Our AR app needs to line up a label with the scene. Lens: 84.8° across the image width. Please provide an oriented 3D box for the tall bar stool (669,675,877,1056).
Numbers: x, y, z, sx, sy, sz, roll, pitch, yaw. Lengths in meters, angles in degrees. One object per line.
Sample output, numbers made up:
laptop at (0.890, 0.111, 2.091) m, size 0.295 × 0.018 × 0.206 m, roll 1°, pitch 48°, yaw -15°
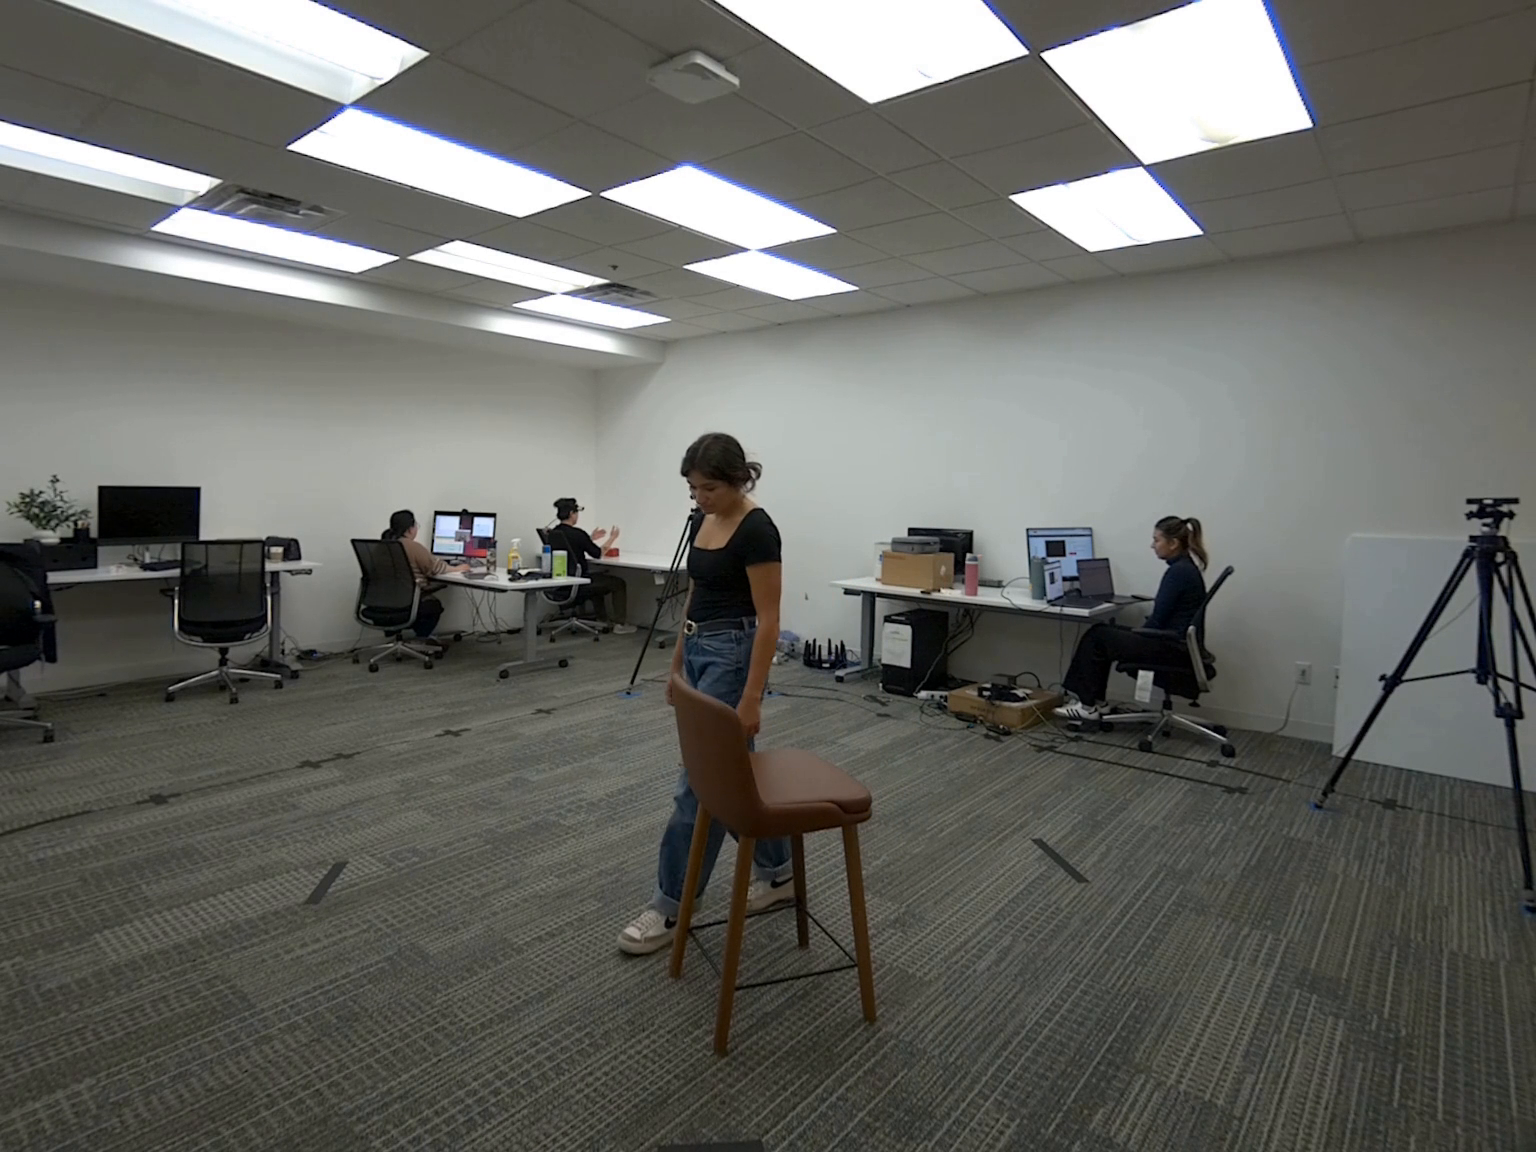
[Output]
tall bar stool at (0.000, 0.712, 2.309) m, size 0.457 × 0.886 × 0.468 m, roll -3°, pitch 5°, yaw -23°
